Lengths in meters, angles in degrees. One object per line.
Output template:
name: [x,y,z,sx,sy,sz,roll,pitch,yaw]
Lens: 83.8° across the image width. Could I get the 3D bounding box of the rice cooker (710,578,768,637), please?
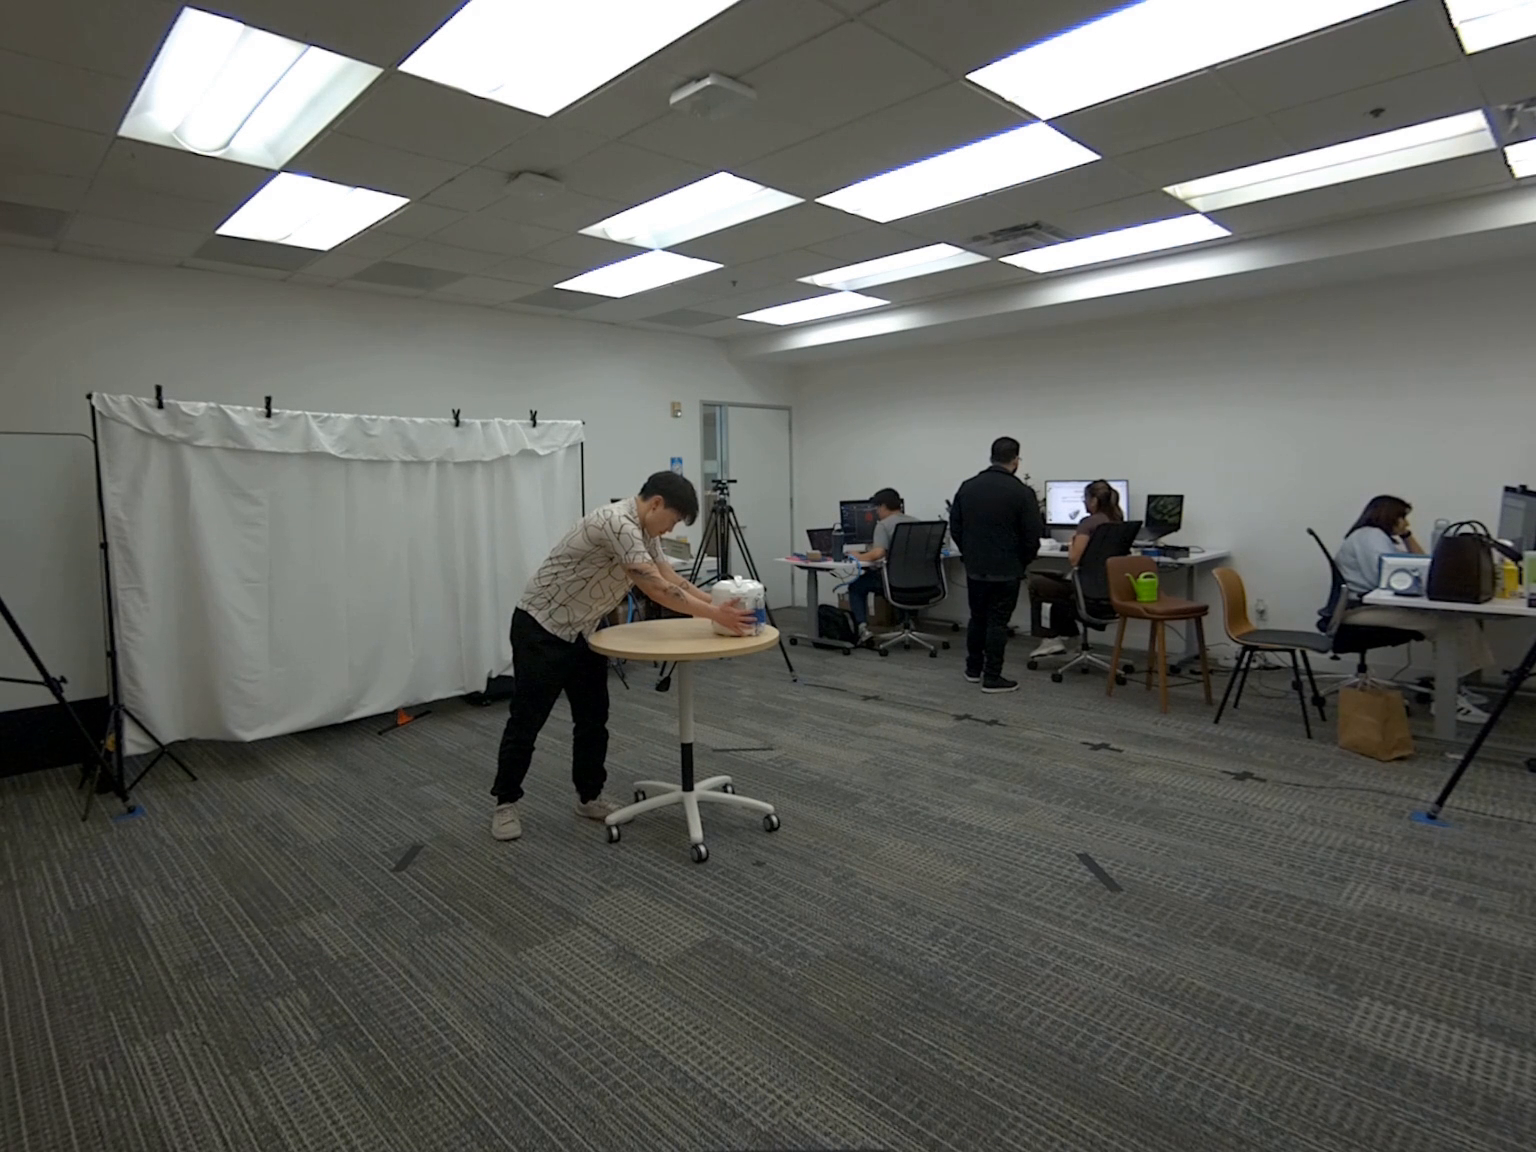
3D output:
rice cooker: [-0.123,0.112,3.418,0.217,0.232,0.222,0,4,-3]
